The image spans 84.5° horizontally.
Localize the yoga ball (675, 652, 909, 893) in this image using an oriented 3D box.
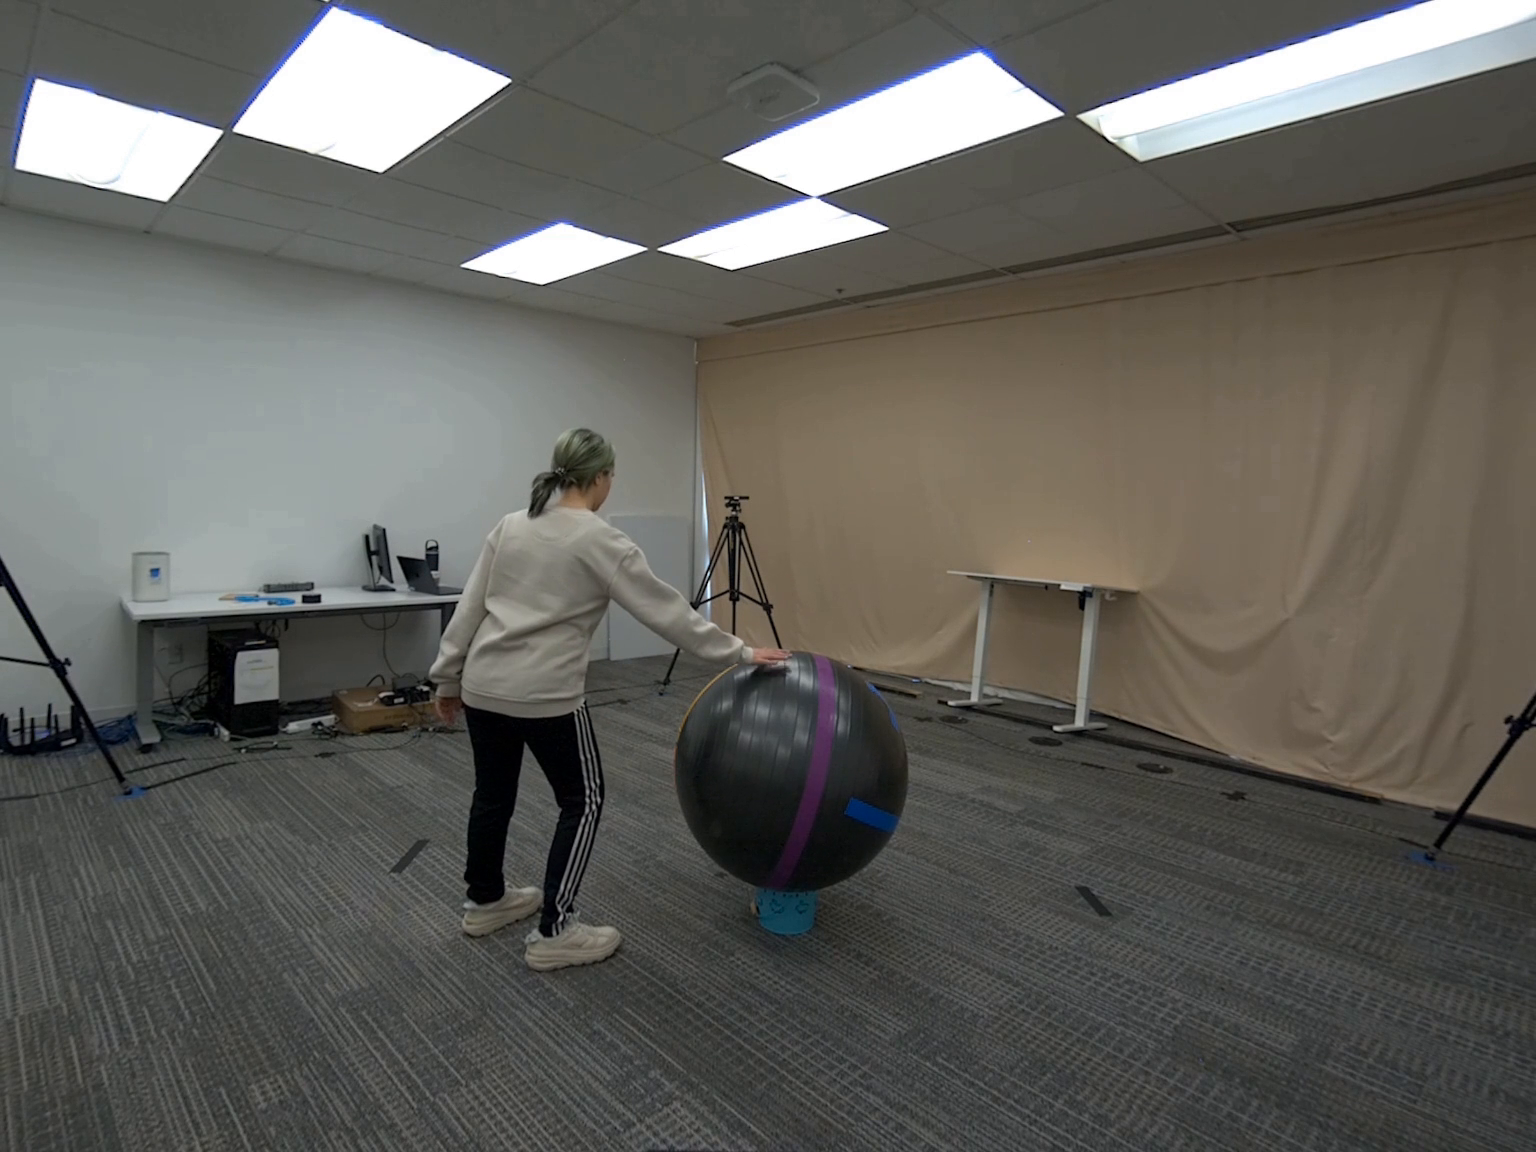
[{"bbox_3d":[0.067,0.629,2.752,0.757,0.756,0.761,1,4,-1],"label":"yoga ball"}]
